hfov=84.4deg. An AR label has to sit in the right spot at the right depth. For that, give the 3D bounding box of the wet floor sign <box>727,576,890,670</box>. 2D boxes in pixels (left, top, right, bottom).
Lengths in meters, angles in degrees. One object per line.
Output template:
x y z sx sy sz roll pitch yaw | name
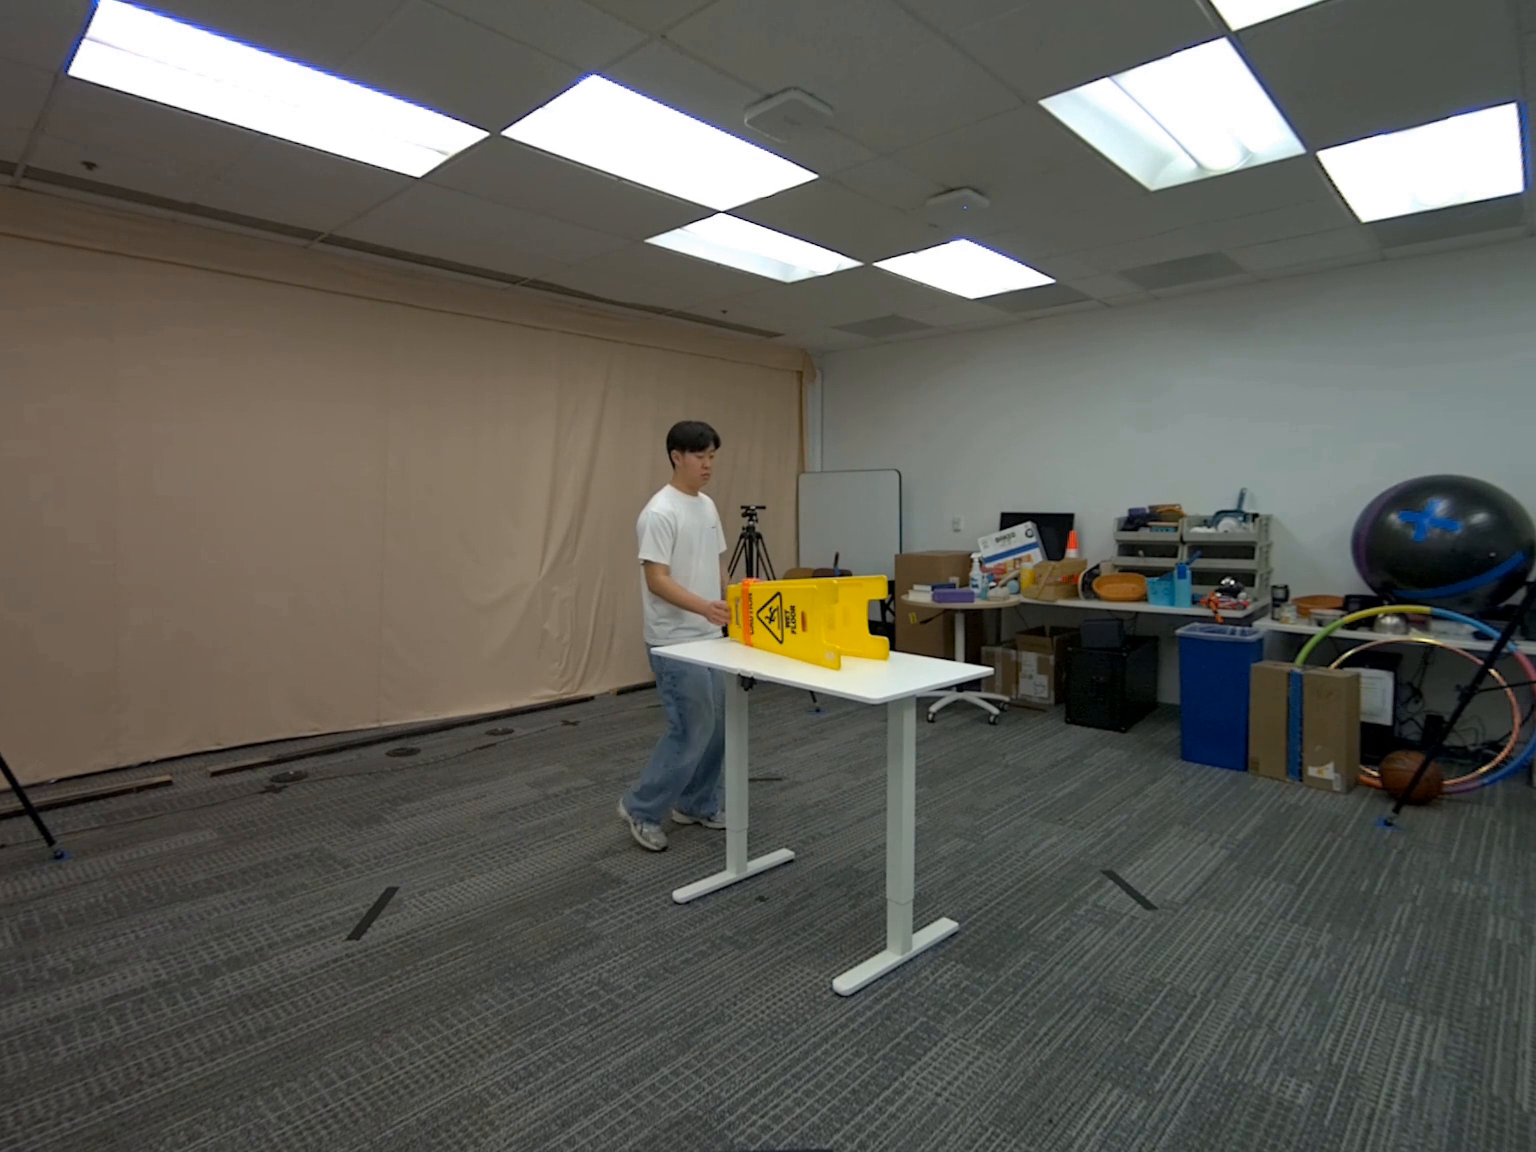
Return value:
0.079 0.141 2.918 0.281 0.282 0.667 -4 4 -43 | wet floor sign
